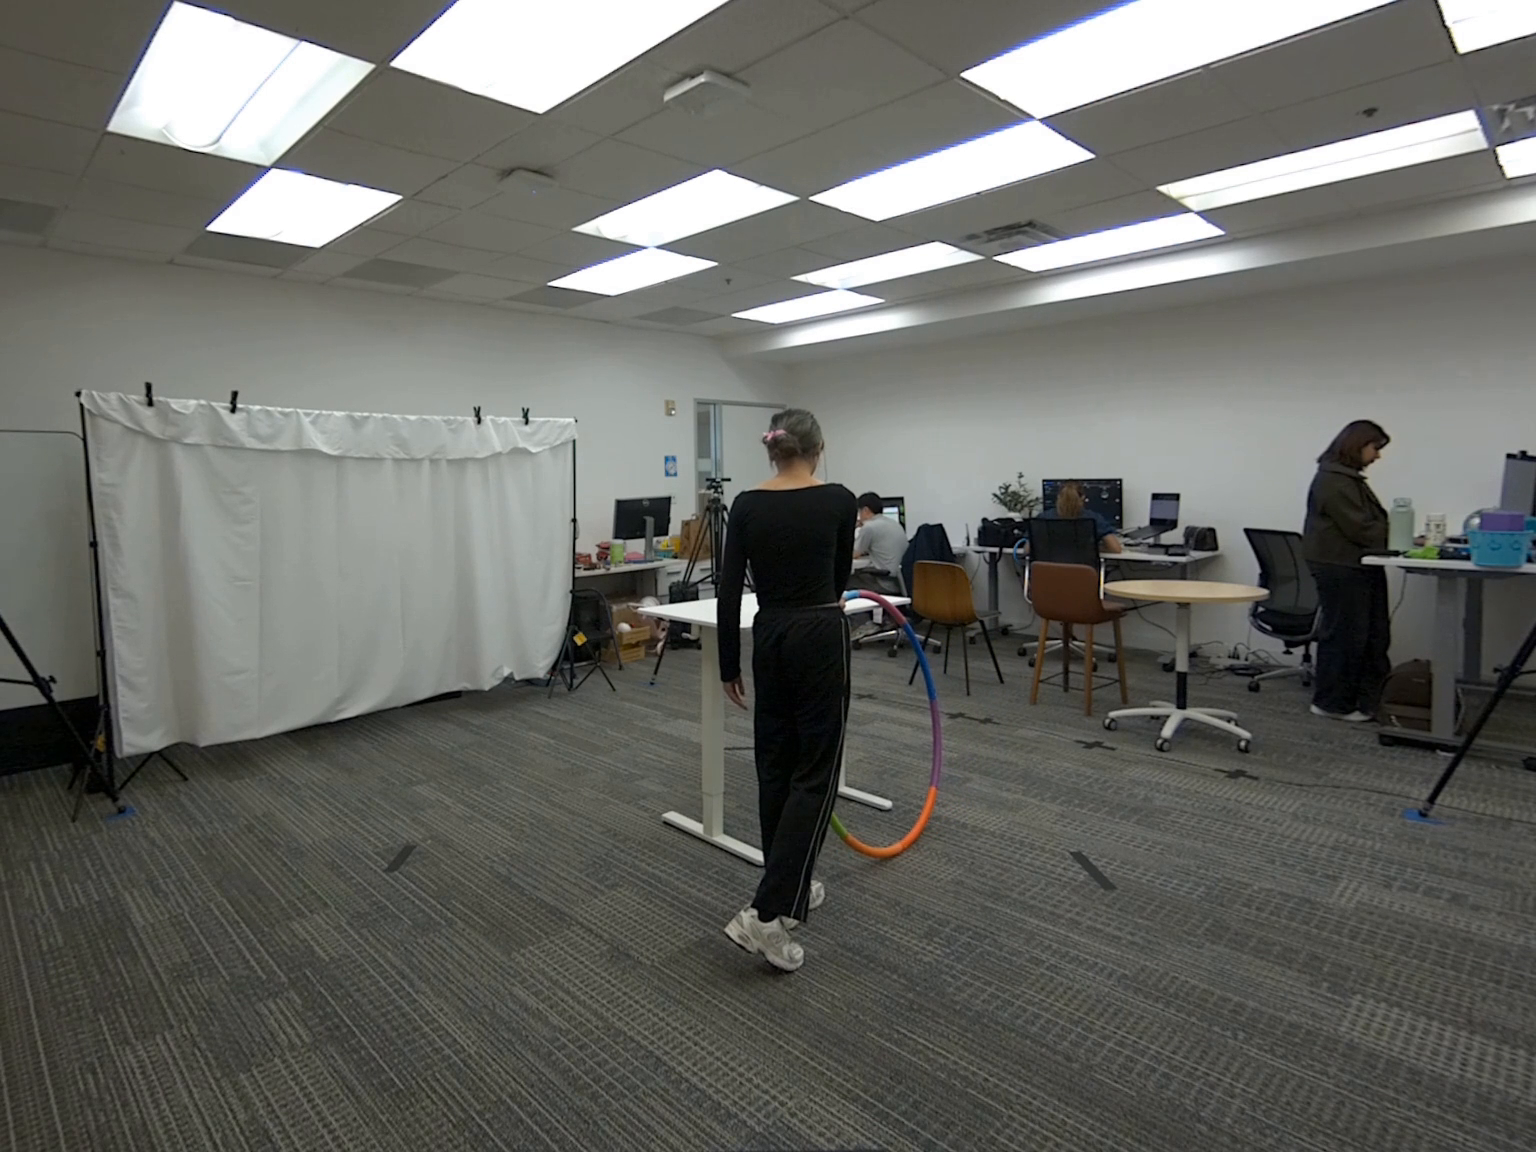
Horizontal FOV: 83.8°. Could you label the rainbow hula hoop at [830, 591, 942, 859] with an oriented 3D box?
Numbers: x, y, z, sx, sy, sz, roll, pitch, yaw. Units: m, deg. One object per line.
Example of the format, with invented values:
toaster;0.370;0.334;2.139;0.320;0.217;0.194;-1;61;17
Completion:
rainbow hula hoop;0.419;0.542;3.231;0.036;0.983;0.954;-14;-4;37
